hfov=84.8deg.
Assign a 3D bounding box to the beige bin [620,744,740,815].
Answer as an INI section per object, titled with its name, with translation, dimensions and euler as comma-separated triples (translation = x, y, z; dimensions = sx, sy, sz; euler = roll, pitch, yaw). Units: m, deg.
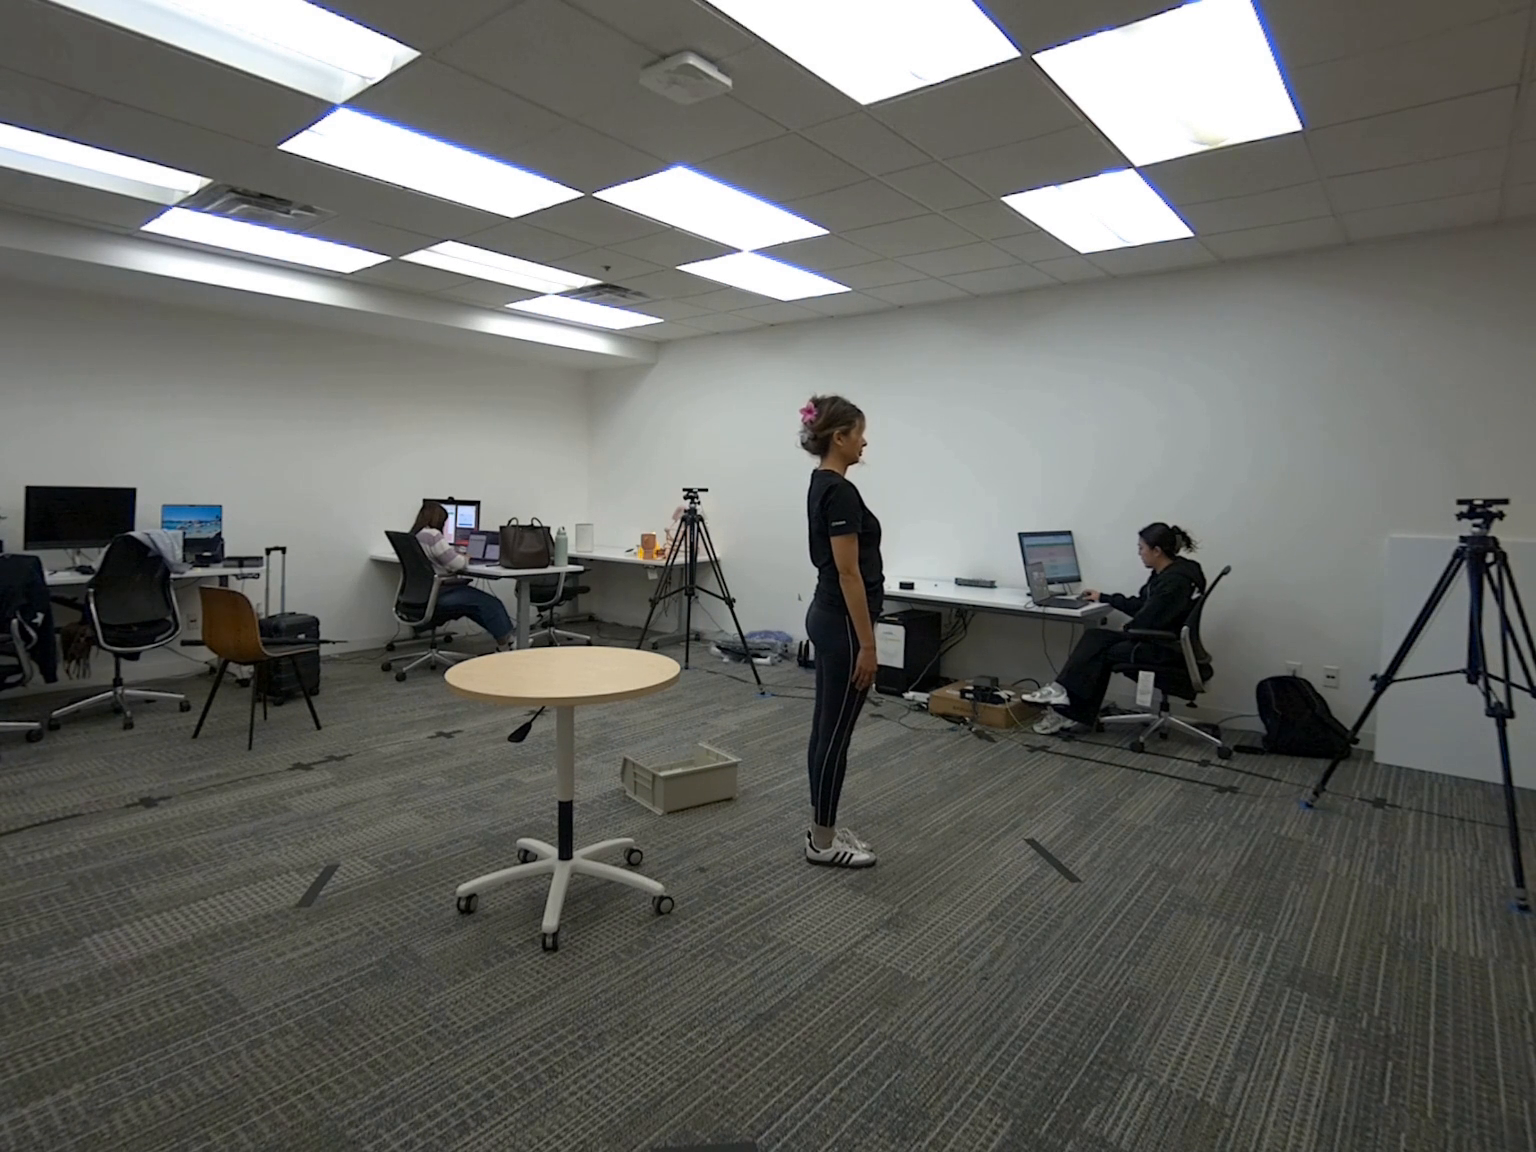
[beige bin]
translation = -0.411, 0.905, 3.866
dimensions = 0.410, 0.188, 0.390
euler = -2, 7, -36
